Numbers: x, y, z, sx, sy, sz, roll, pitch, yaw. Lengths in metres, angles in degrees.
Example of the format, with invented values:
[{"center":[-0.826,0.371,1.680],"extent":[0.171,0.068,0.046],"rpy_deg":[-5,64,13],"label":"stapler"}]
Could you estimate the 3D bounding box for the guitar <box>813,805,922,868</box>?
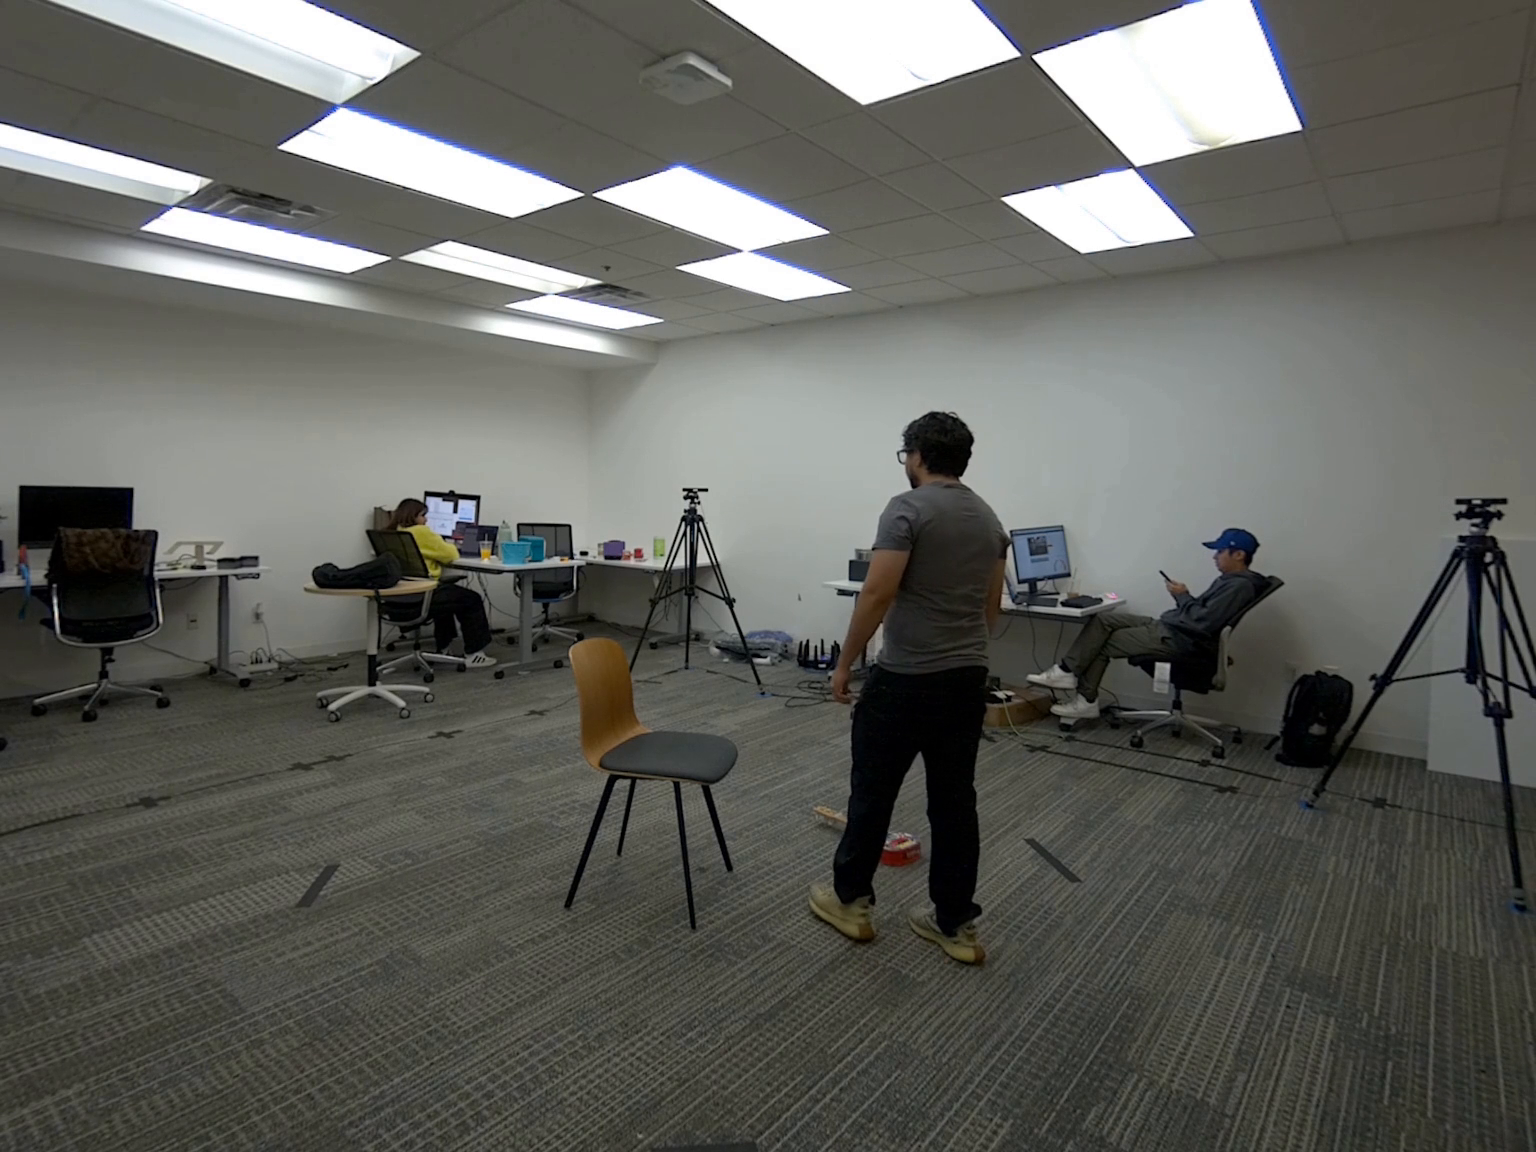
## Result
[{"center":[0.390,1.022,3.414],"extent":[0.188,0.070,0.514],"rpy_deg":[-3,7,-33],"label":"guitar"}]
